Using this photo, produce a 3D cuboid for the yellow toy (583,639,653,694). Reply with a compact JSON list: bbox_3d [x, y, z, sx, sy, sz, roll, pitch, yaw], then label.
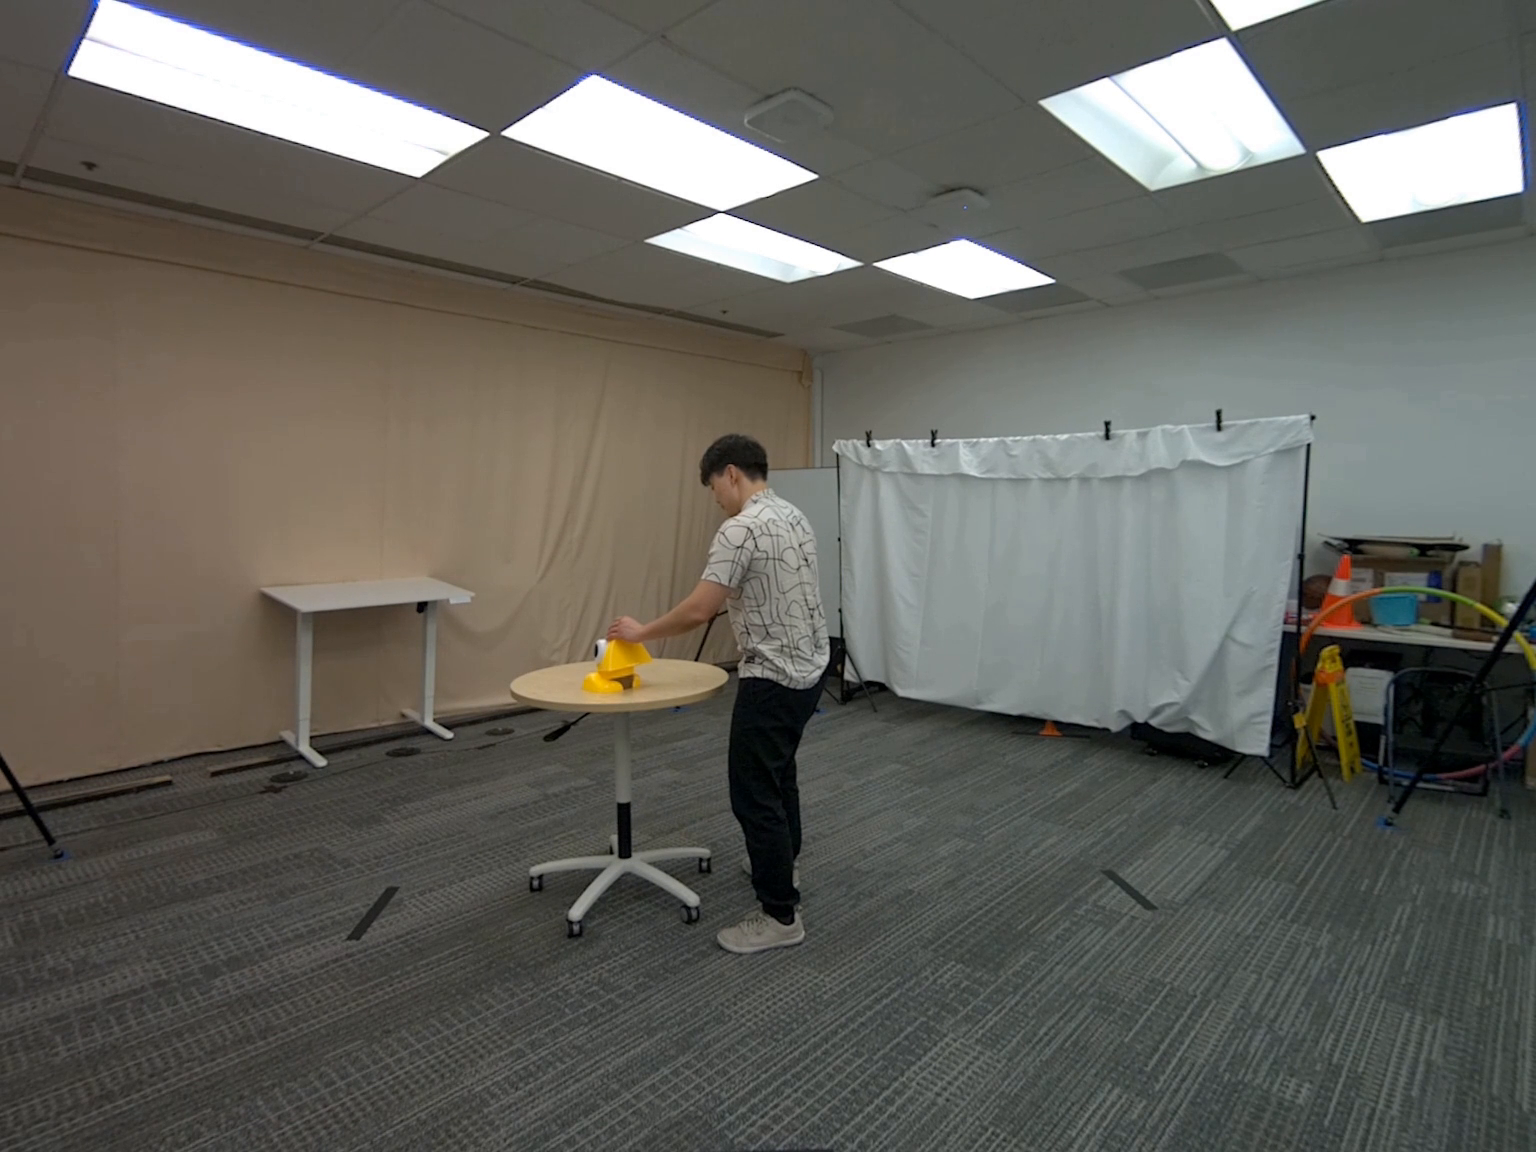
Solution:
[{"bbox_3d":[-0.521,0.266,2.851,0.199,0.230,0.199,2,5,38],"label":"yellow toy"}]
